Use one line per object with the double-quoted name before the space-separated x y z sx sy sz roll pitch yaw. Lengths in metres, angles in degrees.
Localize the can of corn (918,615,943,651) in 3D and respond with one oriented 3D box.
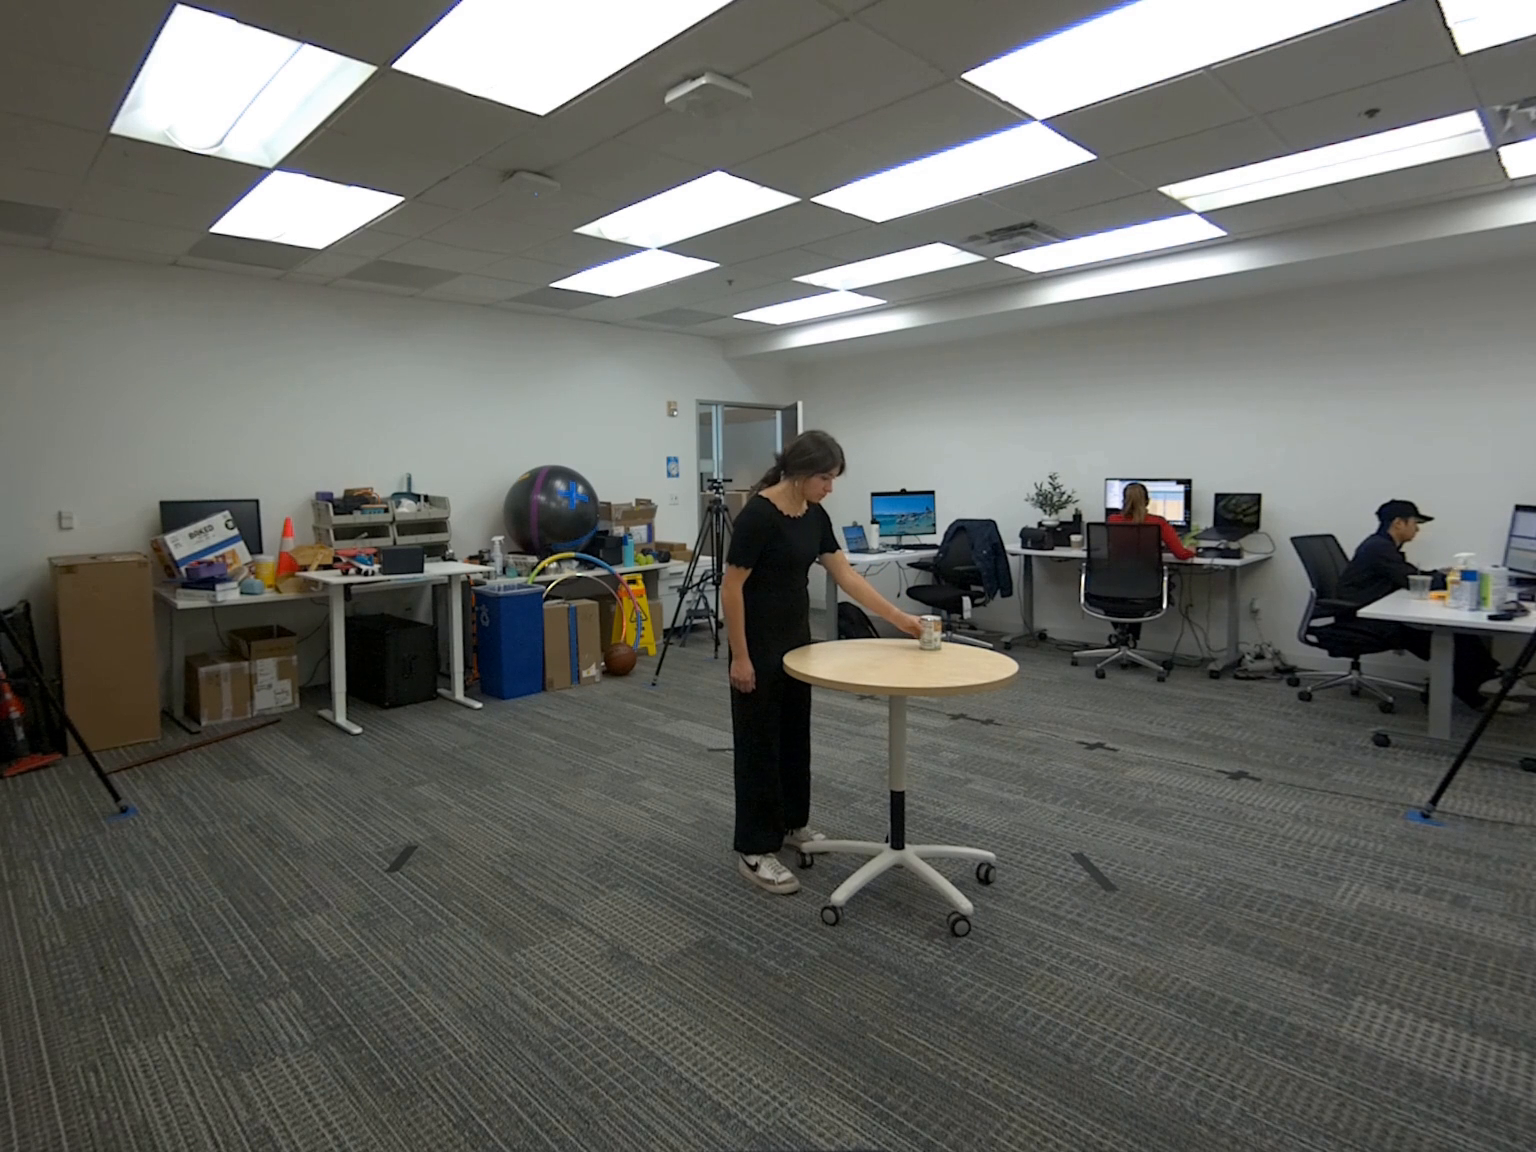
"can of corn" 0.578 0.204 3.036 0.074 0.111 0.074 -2 4 -2
